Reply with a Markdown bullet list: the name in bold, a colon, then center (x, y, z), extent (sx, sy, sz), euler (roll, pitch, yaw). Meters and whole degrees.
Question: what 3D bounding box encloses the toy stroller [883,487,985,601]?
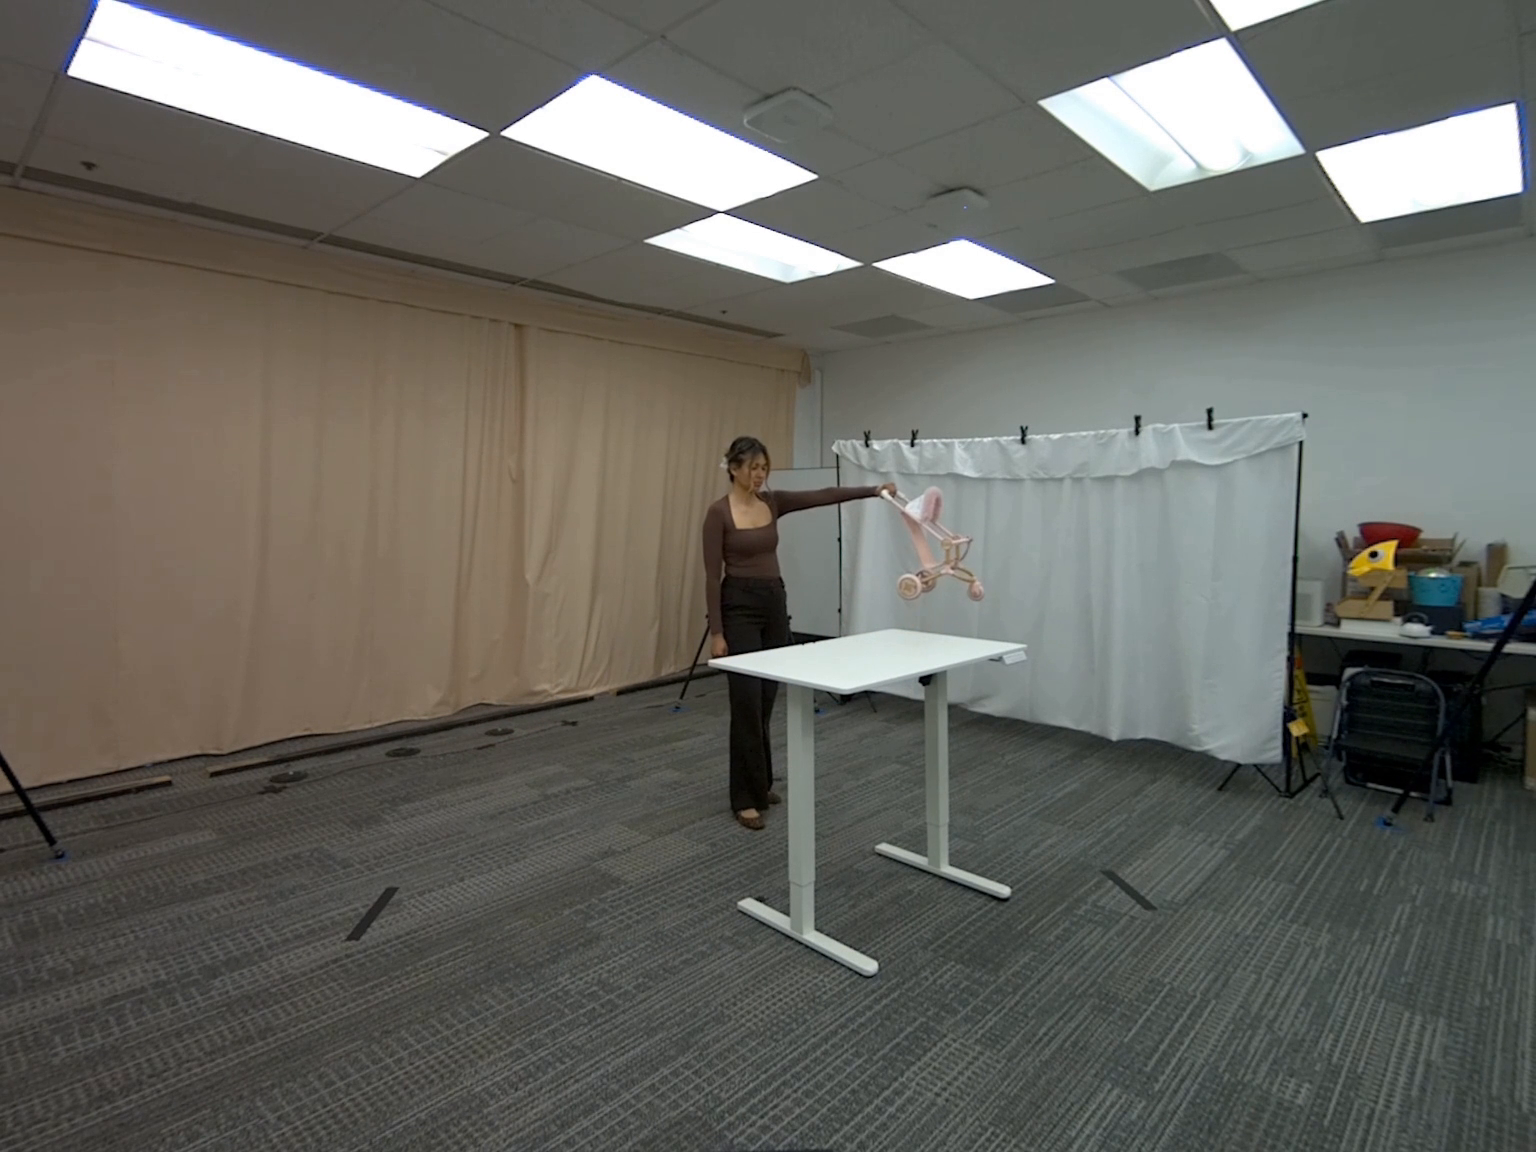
- **toy stroller**: center (0.715, -0.130, 3.592), extent (0.350, 0.535, 0.274), euler (-10, 0, 31)
